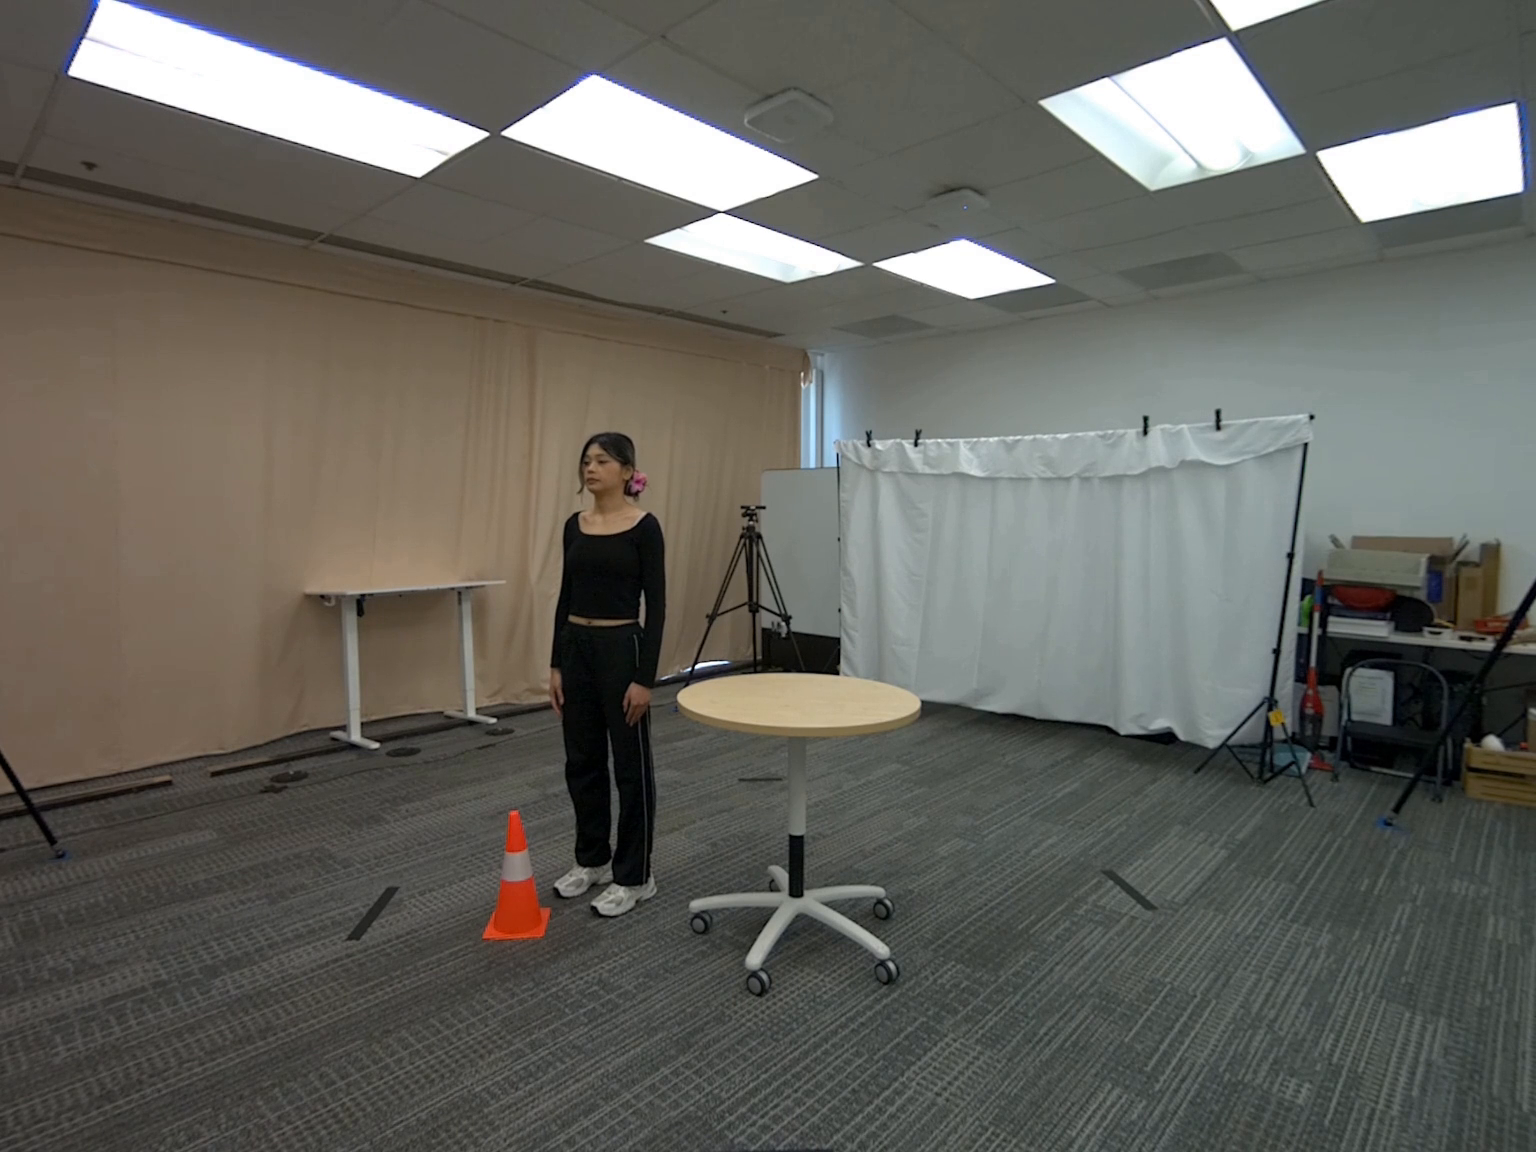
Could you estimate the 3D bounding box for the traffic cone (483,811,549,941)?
[{"bbox_3d":[-0.837,0.982,2.798,0.205,0.382,0.204,1,4,-2],"label":"traffic cone"}]
